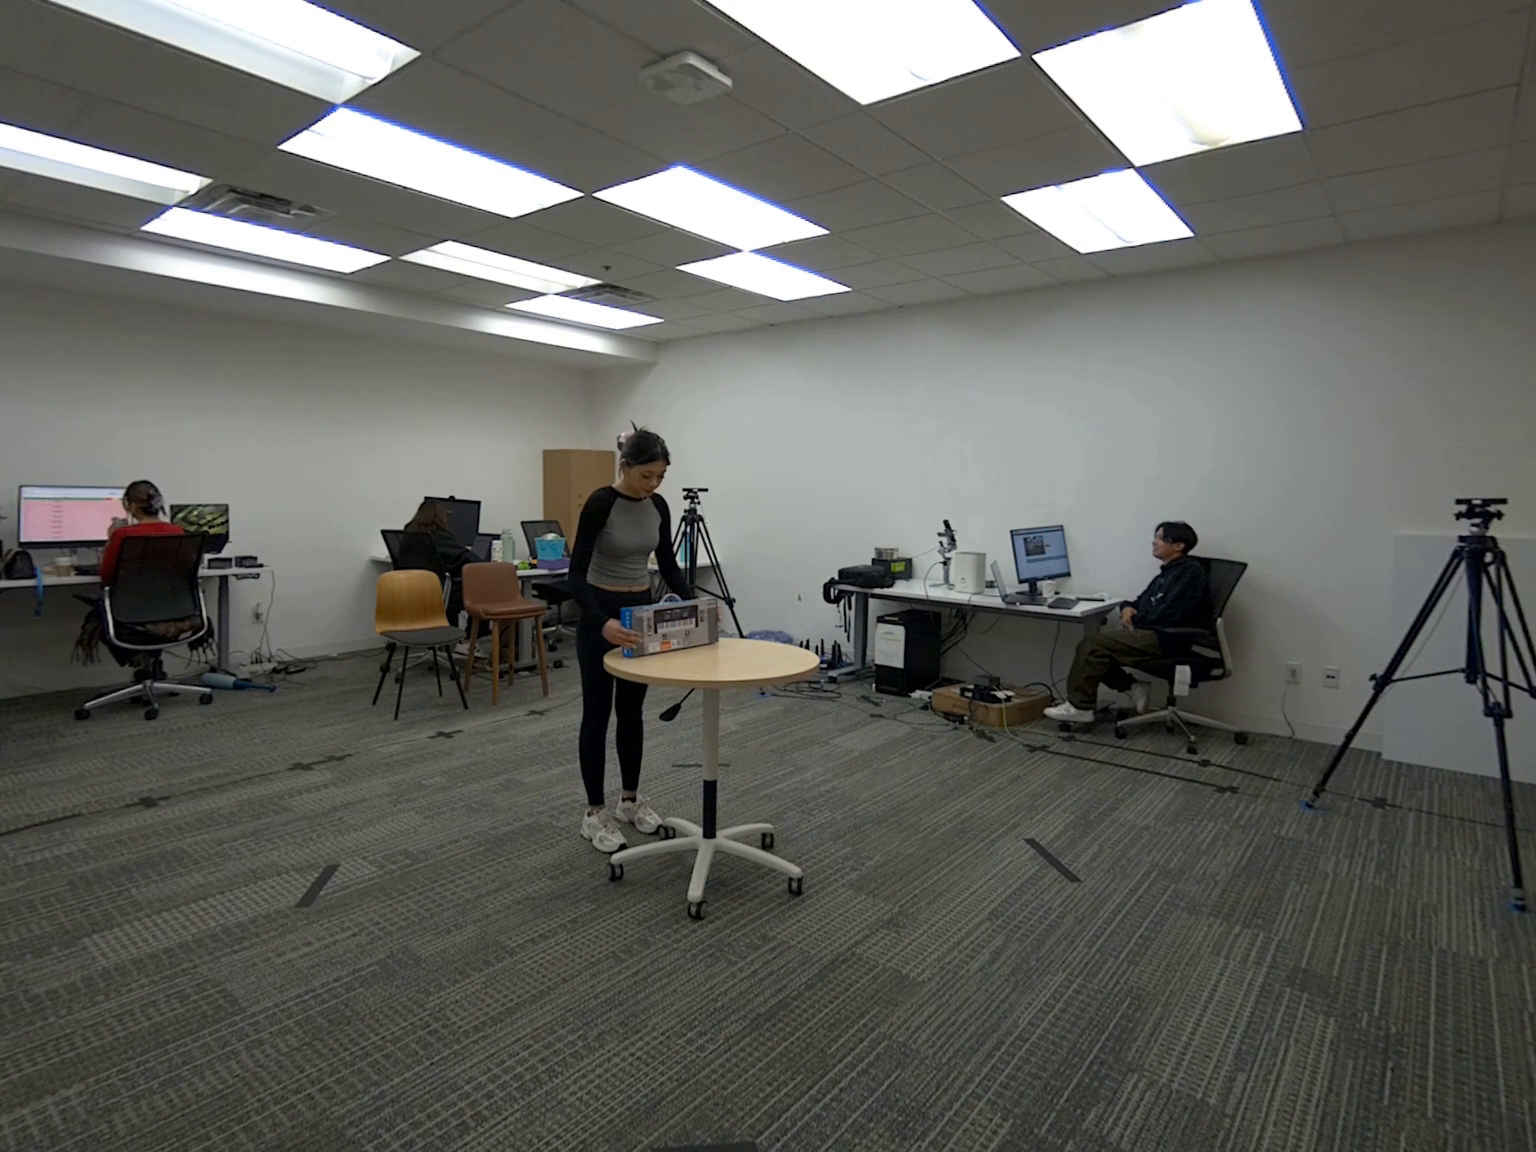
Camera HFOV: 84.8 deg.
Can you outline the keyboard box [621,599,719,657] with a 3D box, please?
[{"bbox_3d":[-0.364,0.184,3.153,0.061,0.176,0.424,-2,2,43],"label":"keyboard box"}]
